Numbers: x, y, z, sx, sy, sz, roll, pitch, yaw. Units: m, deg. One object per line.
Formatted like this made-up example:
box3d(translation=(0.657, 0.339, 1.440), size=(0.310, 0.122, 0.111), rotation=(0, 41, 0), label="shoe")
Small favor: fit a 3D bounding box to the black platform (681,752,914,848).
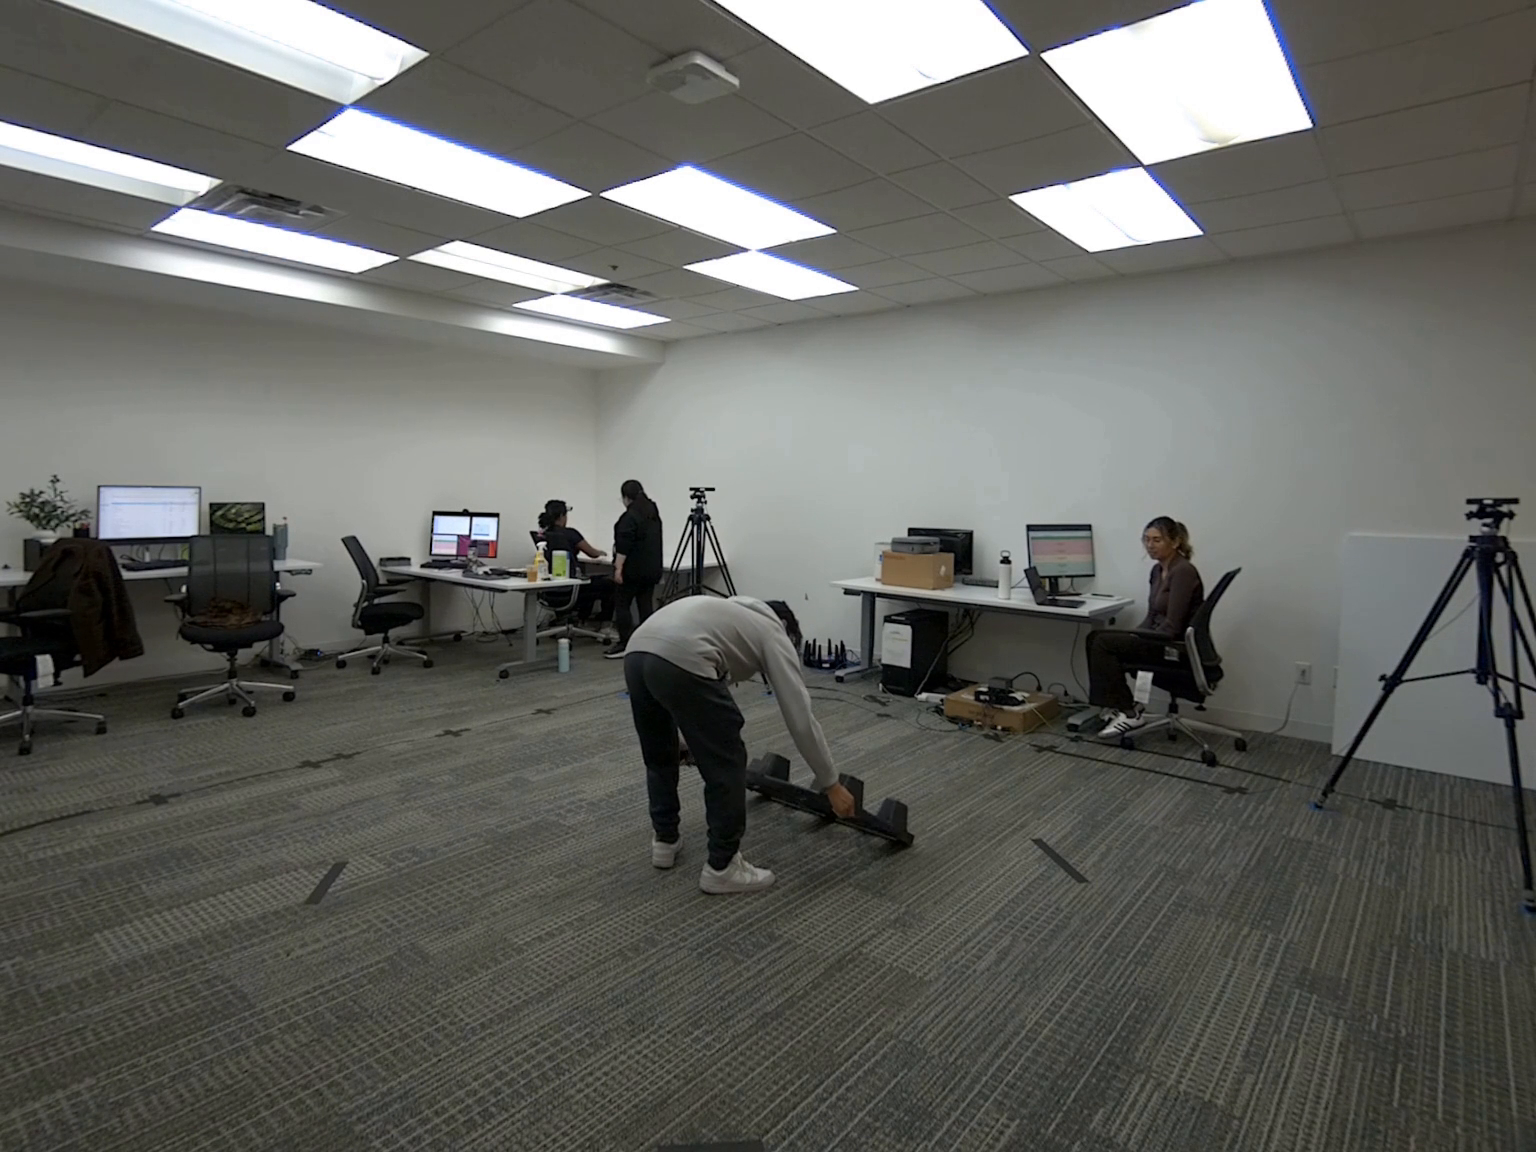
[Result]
box3d(translation=(0.107, 0.843, 3.440), size=(0.833, 0.144, 0.580), rotation=(6, -22, 41), label="black platform")
